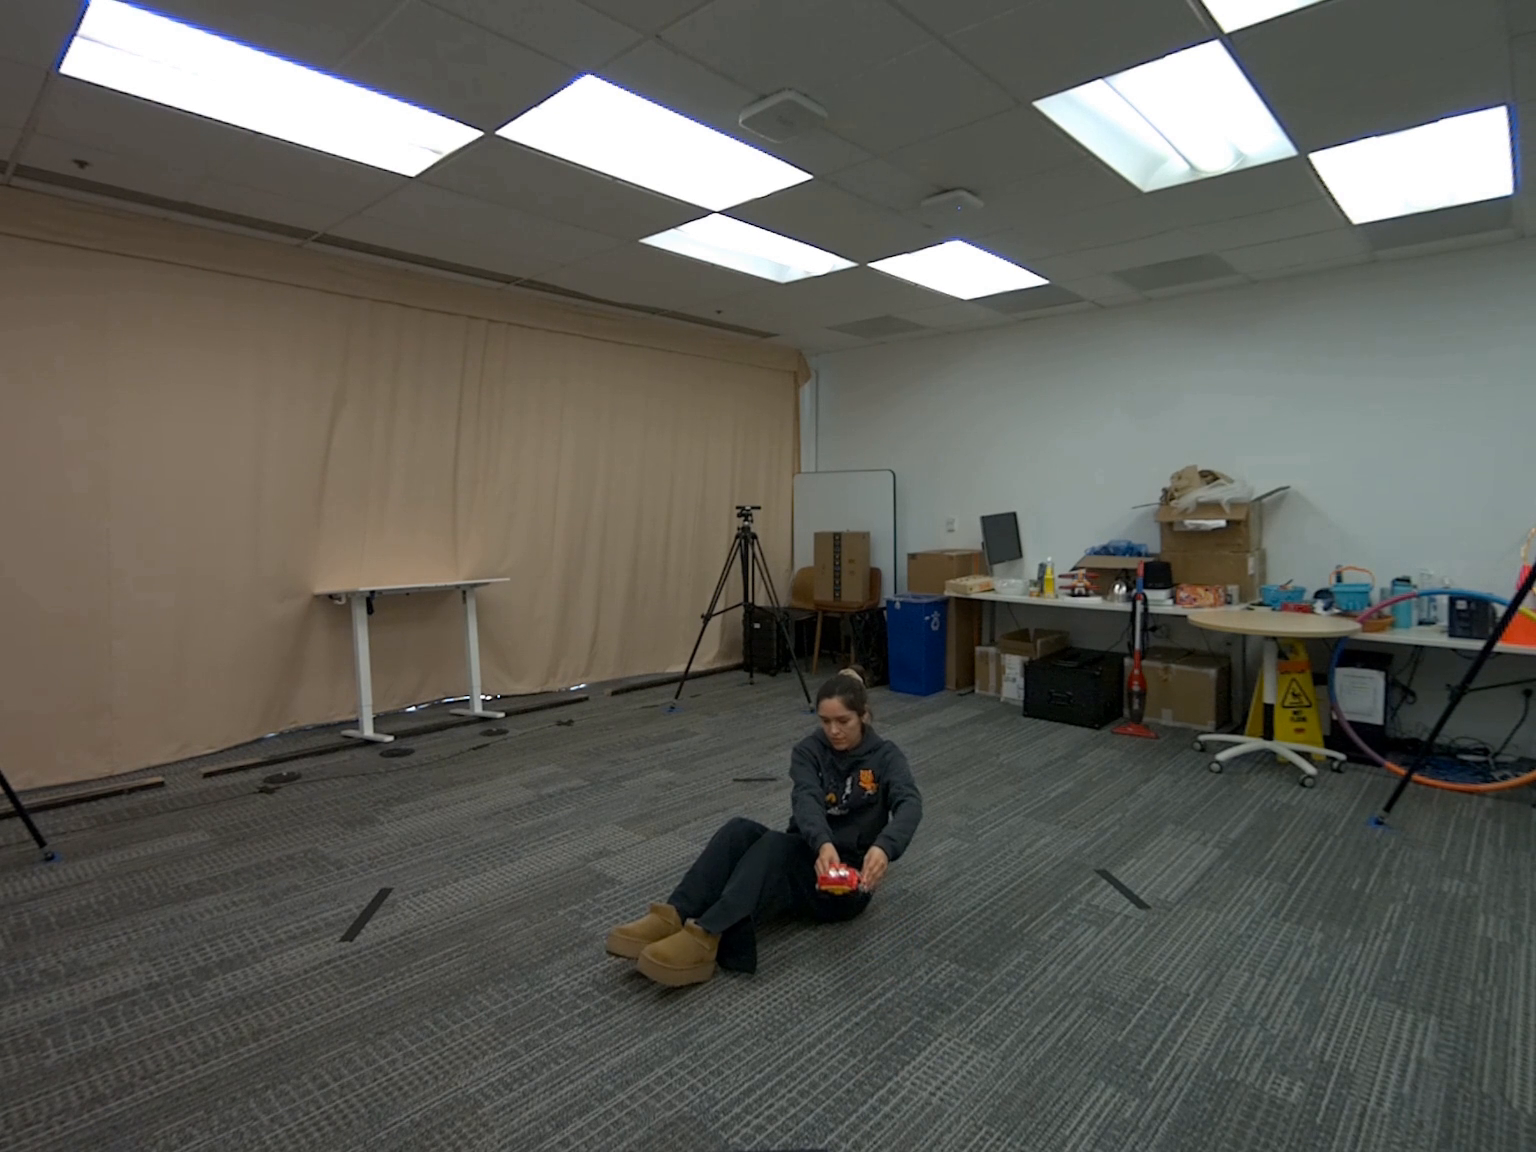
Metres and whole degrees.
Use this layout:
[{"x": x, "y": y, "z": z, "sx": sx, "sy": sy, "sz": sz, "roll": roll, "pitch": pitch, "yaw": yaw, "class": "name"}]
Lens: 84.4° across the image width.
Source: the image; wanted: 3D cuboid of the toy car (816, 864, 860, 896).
[{"x": 0.221, "y": 0.854, "z": 2.351, "sx": 0.133, "sy": 0.084, "sz": 0.246, "roll": -8, "pitch": -31, "yaw": 18, "class": "toy car"}]
